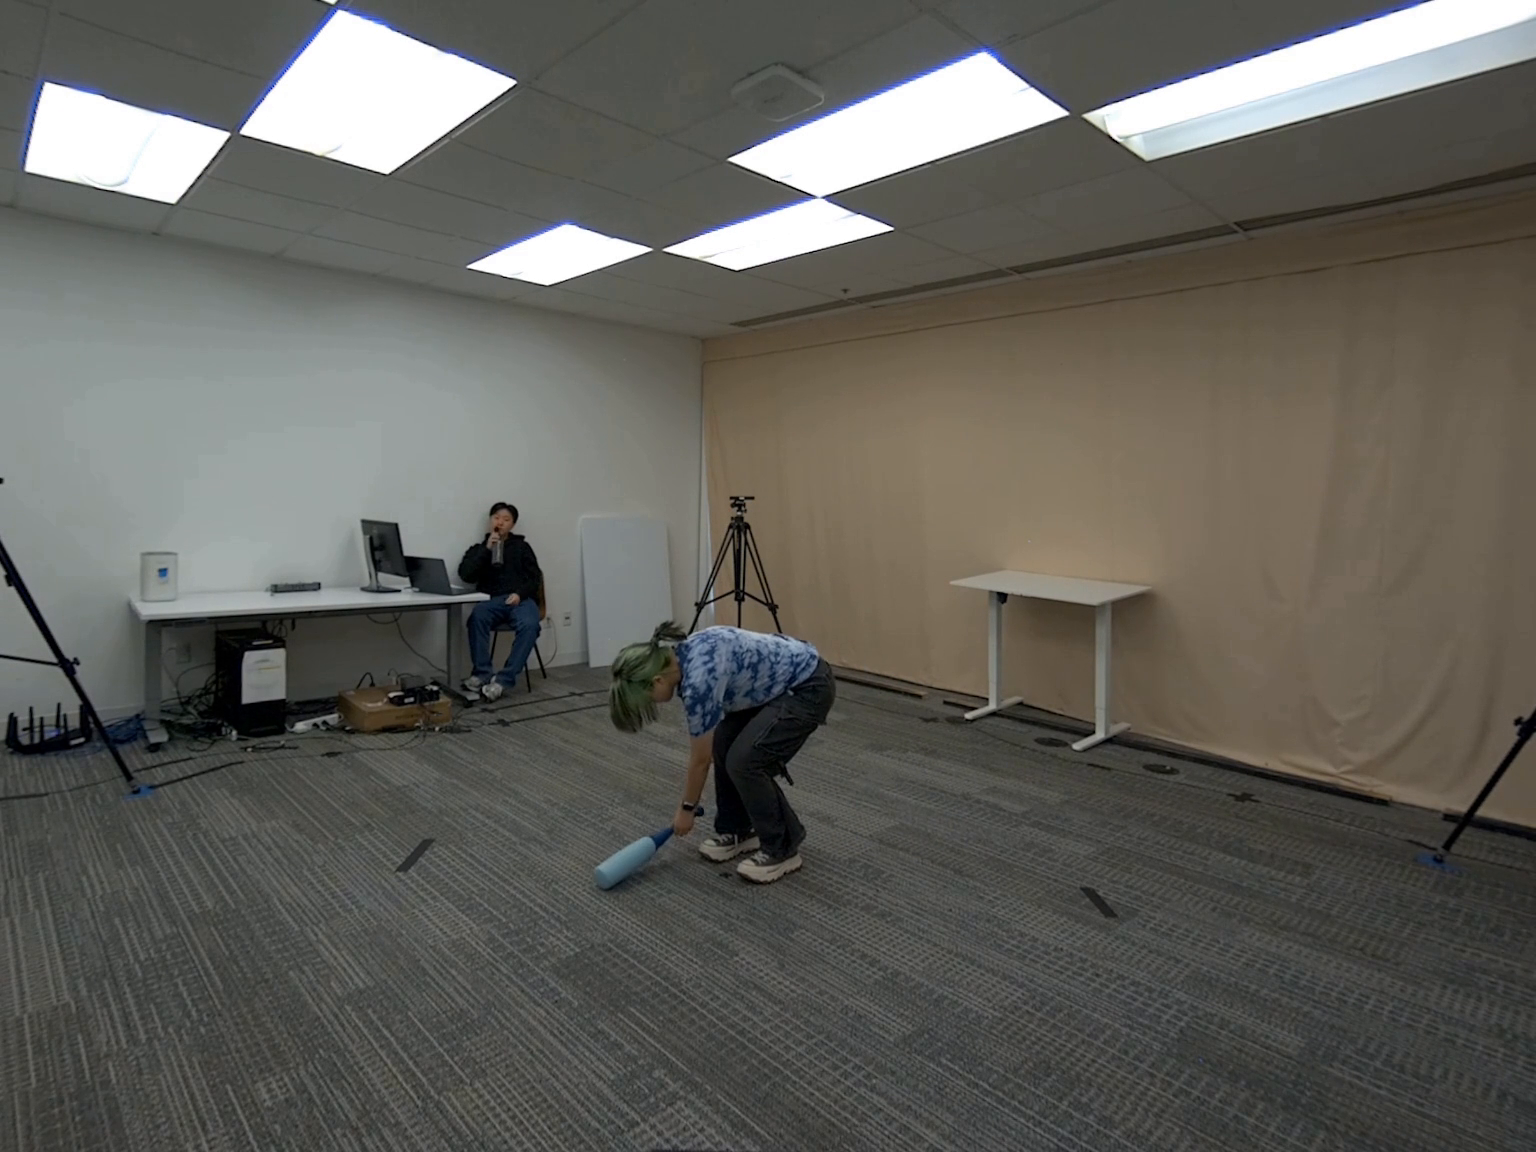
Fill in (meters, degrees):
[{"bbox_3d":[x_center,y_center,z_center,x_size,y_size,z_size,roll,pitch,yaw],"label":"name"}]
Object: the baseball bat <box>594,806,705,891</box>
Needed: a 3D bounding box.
[{"bbox_3d":[-0.445,1.004,3.163,0.091,0.088,0.535,4,15,36],"label":"baseball bat"}]
